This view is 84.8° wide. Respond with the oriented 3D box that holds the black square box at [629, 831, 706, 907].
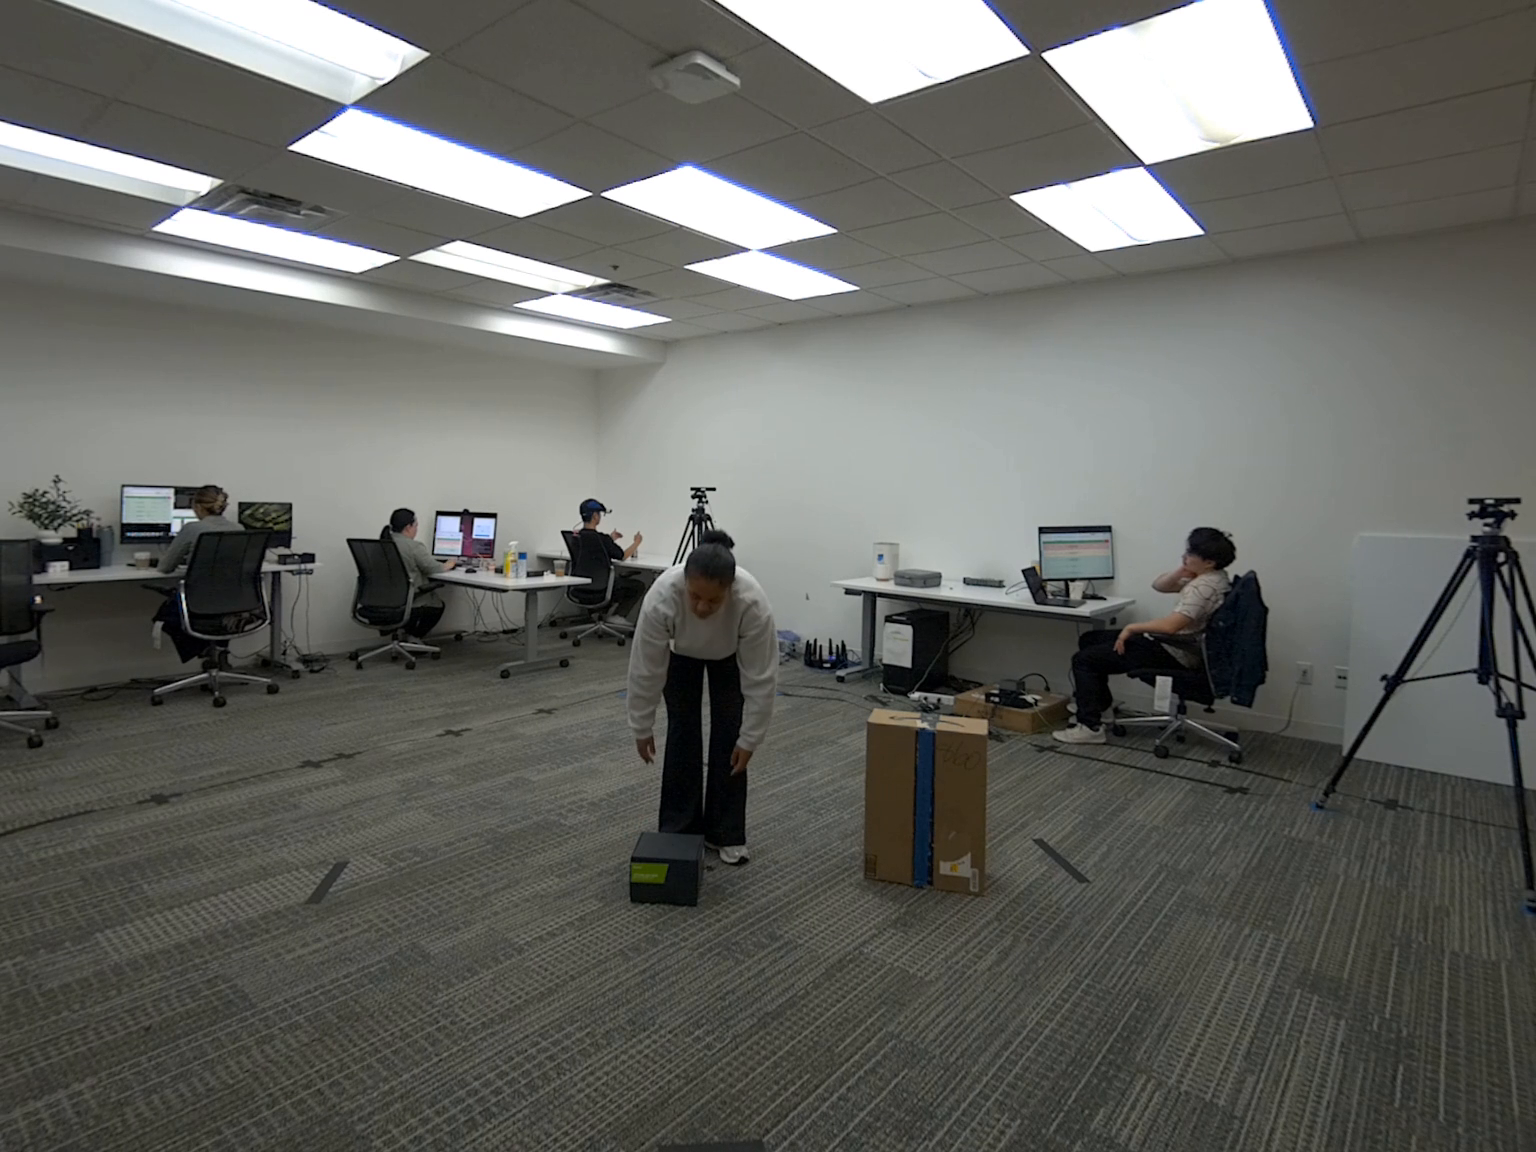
[{"bbox_3d":[-0.357,0.998,2.935,0.229,0.155,0.217,0,4,4],"label":"black square box"}]
